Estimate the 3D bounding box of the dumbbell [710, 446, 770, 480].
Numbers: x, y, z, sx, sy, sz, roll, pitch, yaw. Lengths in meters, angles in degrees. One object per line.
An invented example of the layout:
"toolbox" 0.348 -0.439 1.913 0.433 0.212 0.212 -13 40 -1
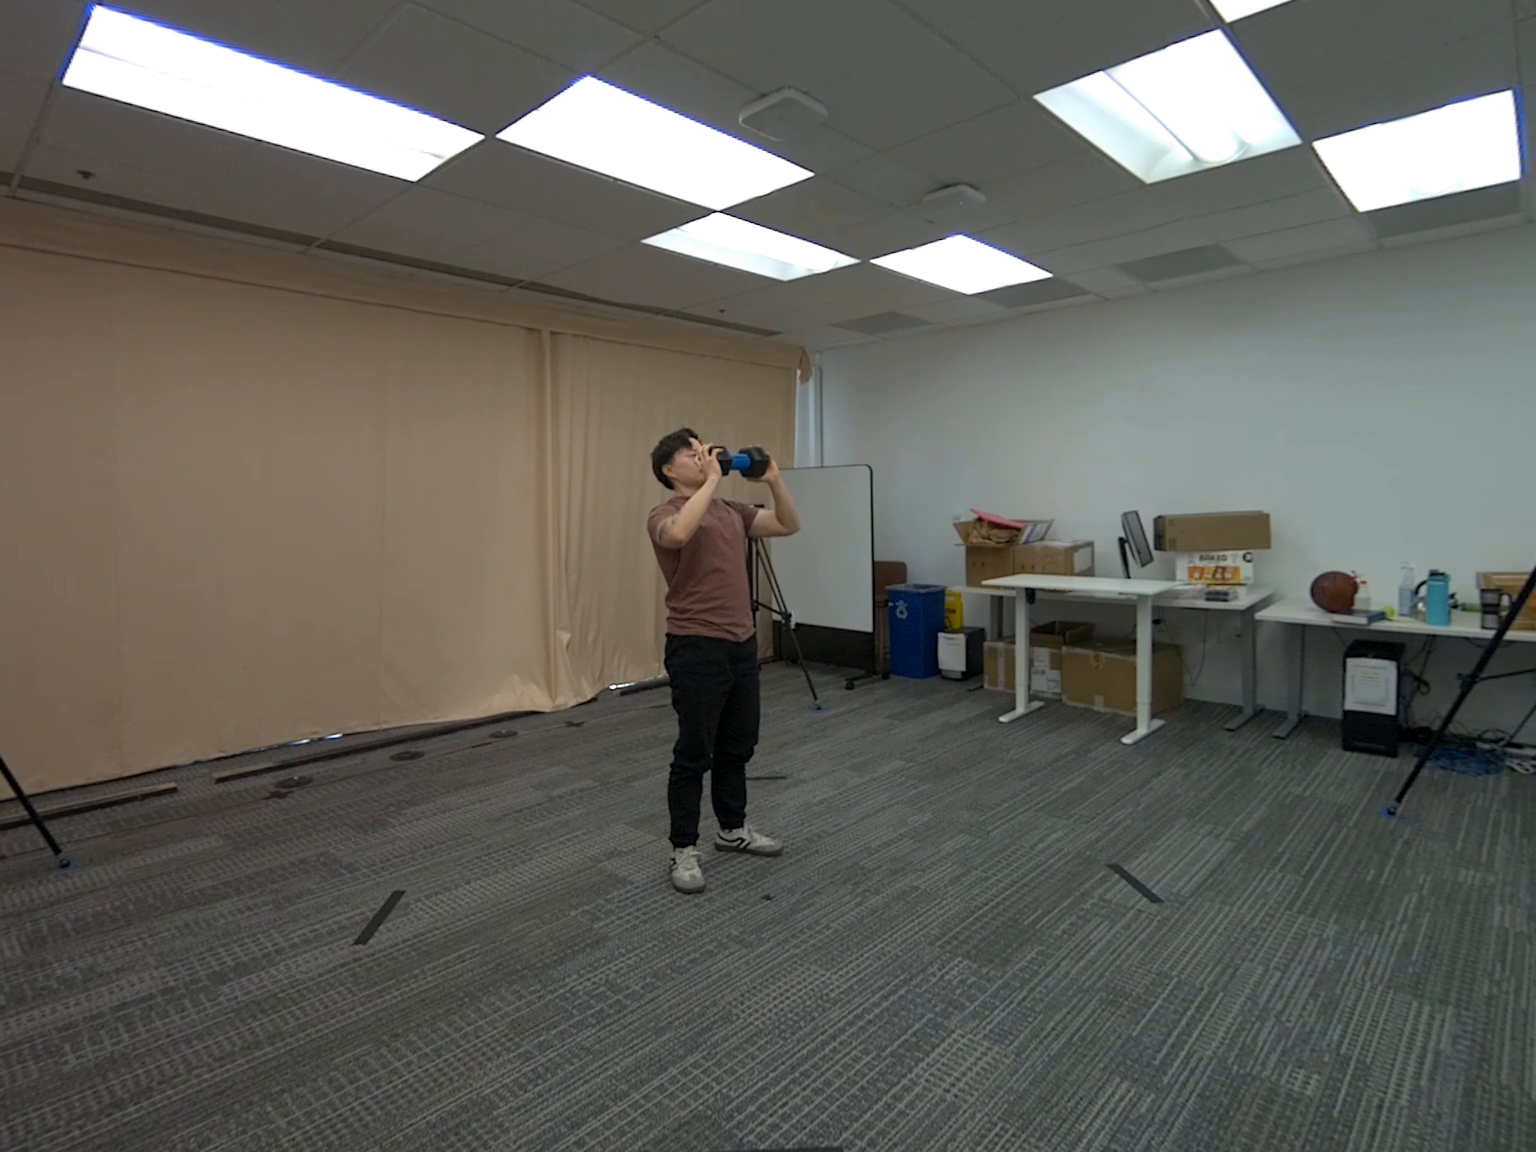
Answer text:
"dumbbell" -0.122 -0.424 3.101 0.285 0.125 0.110 -10 -27 -50
